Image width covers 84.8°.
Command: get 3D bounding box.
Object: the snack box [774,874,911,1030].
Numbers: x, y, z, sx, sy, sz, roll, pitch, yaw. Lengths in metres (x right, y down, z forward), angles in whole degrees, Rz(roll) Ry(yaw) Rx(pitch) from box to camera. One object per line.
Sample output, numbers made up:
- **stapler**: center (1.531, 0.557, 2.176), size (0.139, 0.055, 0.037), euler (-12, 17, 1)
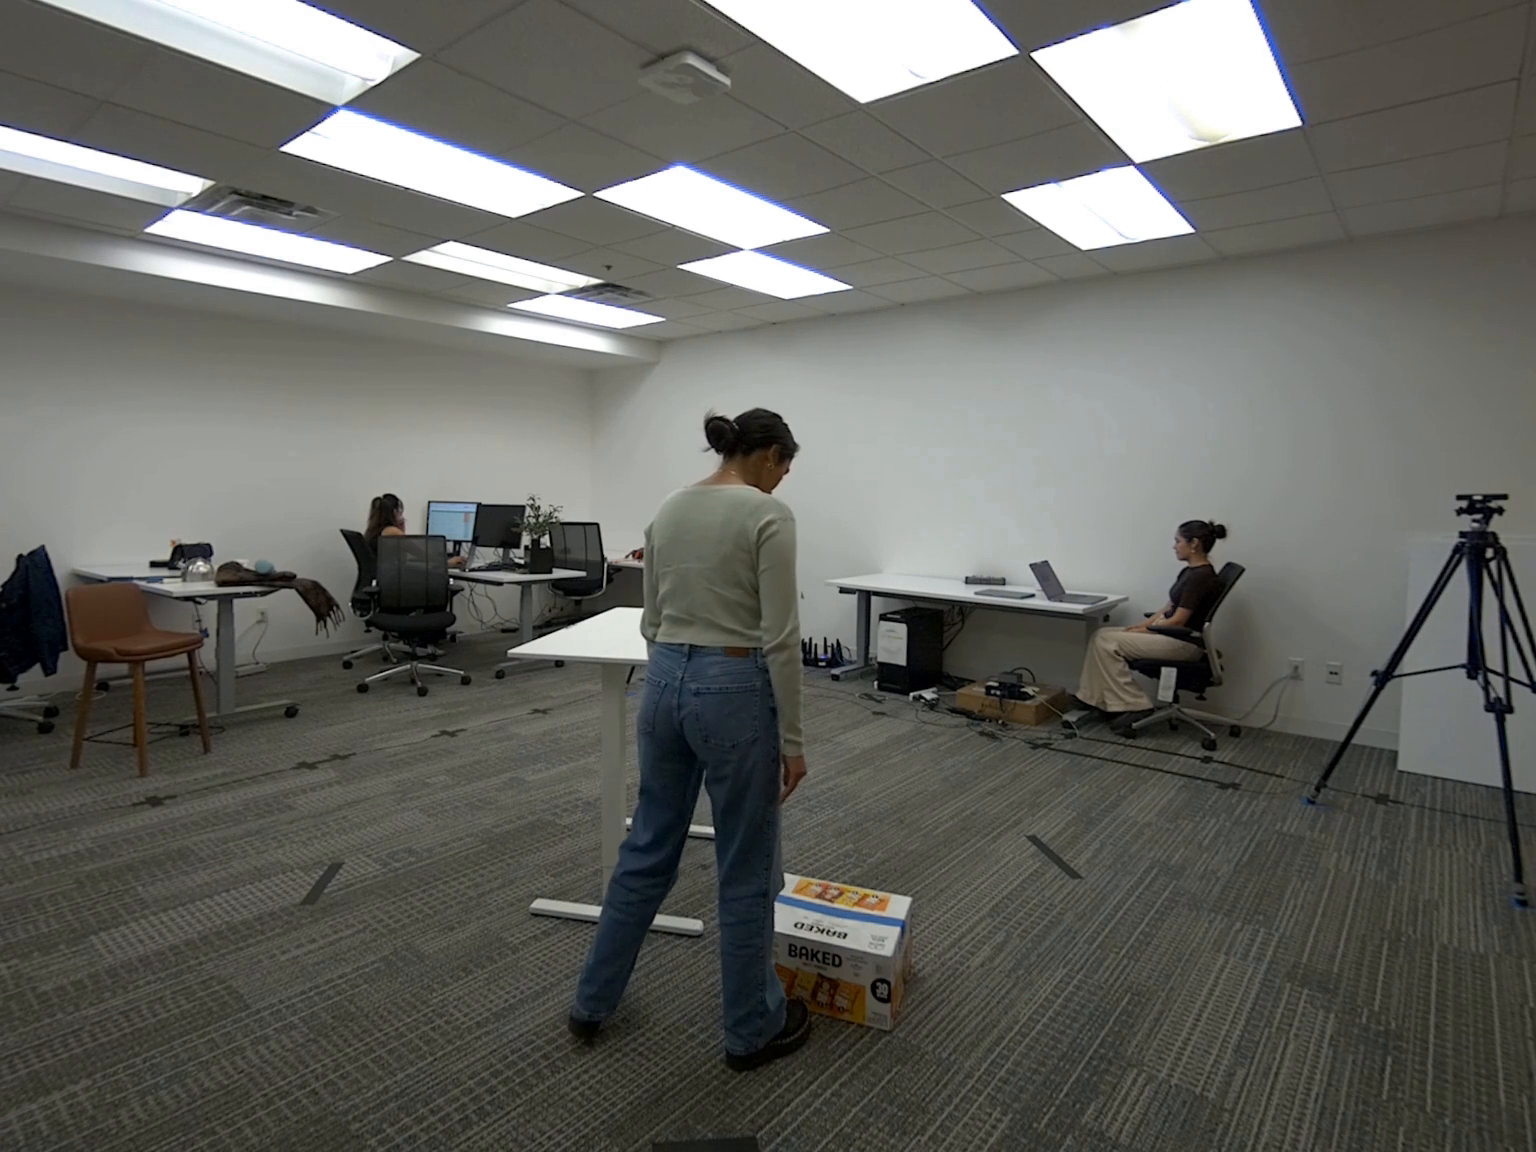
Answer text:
- **snack box**: center (0.171, 1.041, 2.400), size (0.414, 0.205, 0.334), euler (3, 5, 20)
